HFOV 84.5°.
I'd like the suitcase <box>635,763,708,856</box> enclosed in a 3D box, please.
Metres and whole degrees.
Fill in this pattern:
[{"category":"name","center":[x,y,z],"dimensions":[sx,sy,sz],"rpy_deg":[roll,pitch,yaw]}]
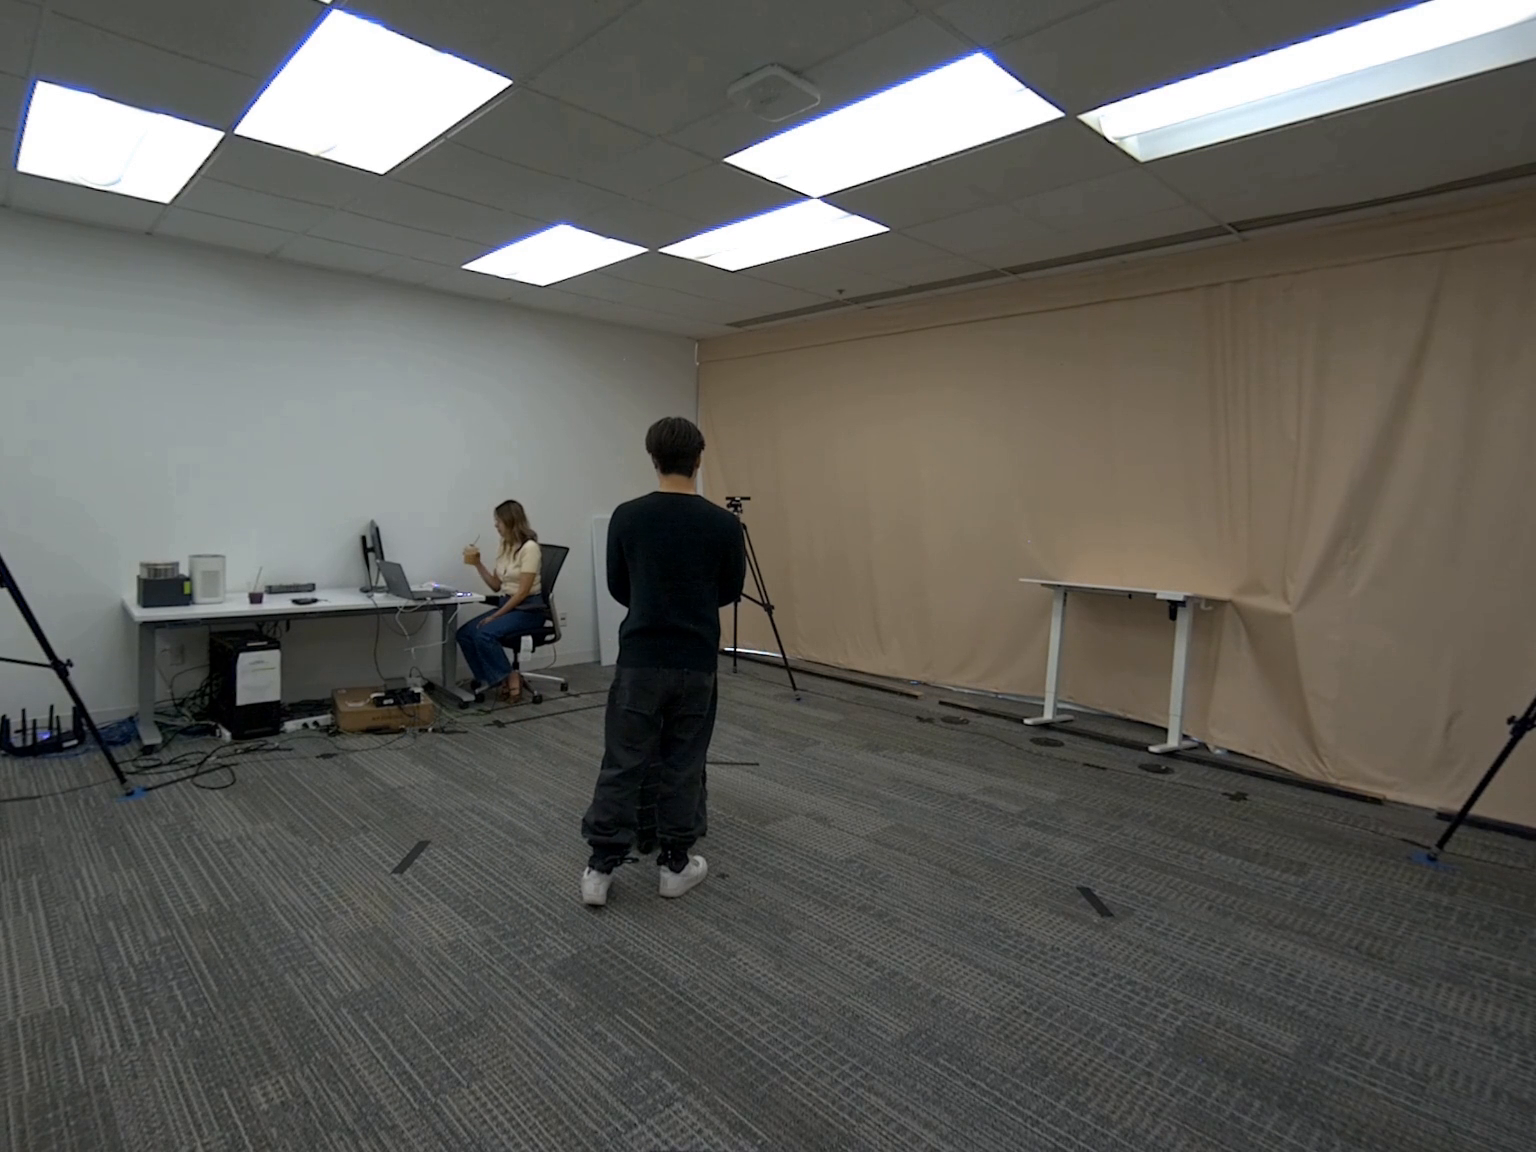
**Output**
[{"category":"suitcase","center":[-0.461,0.596,3.442],"dimensions":[0.375,0.978,0.263],"rpy_deg":[-2,2,-39]}]
